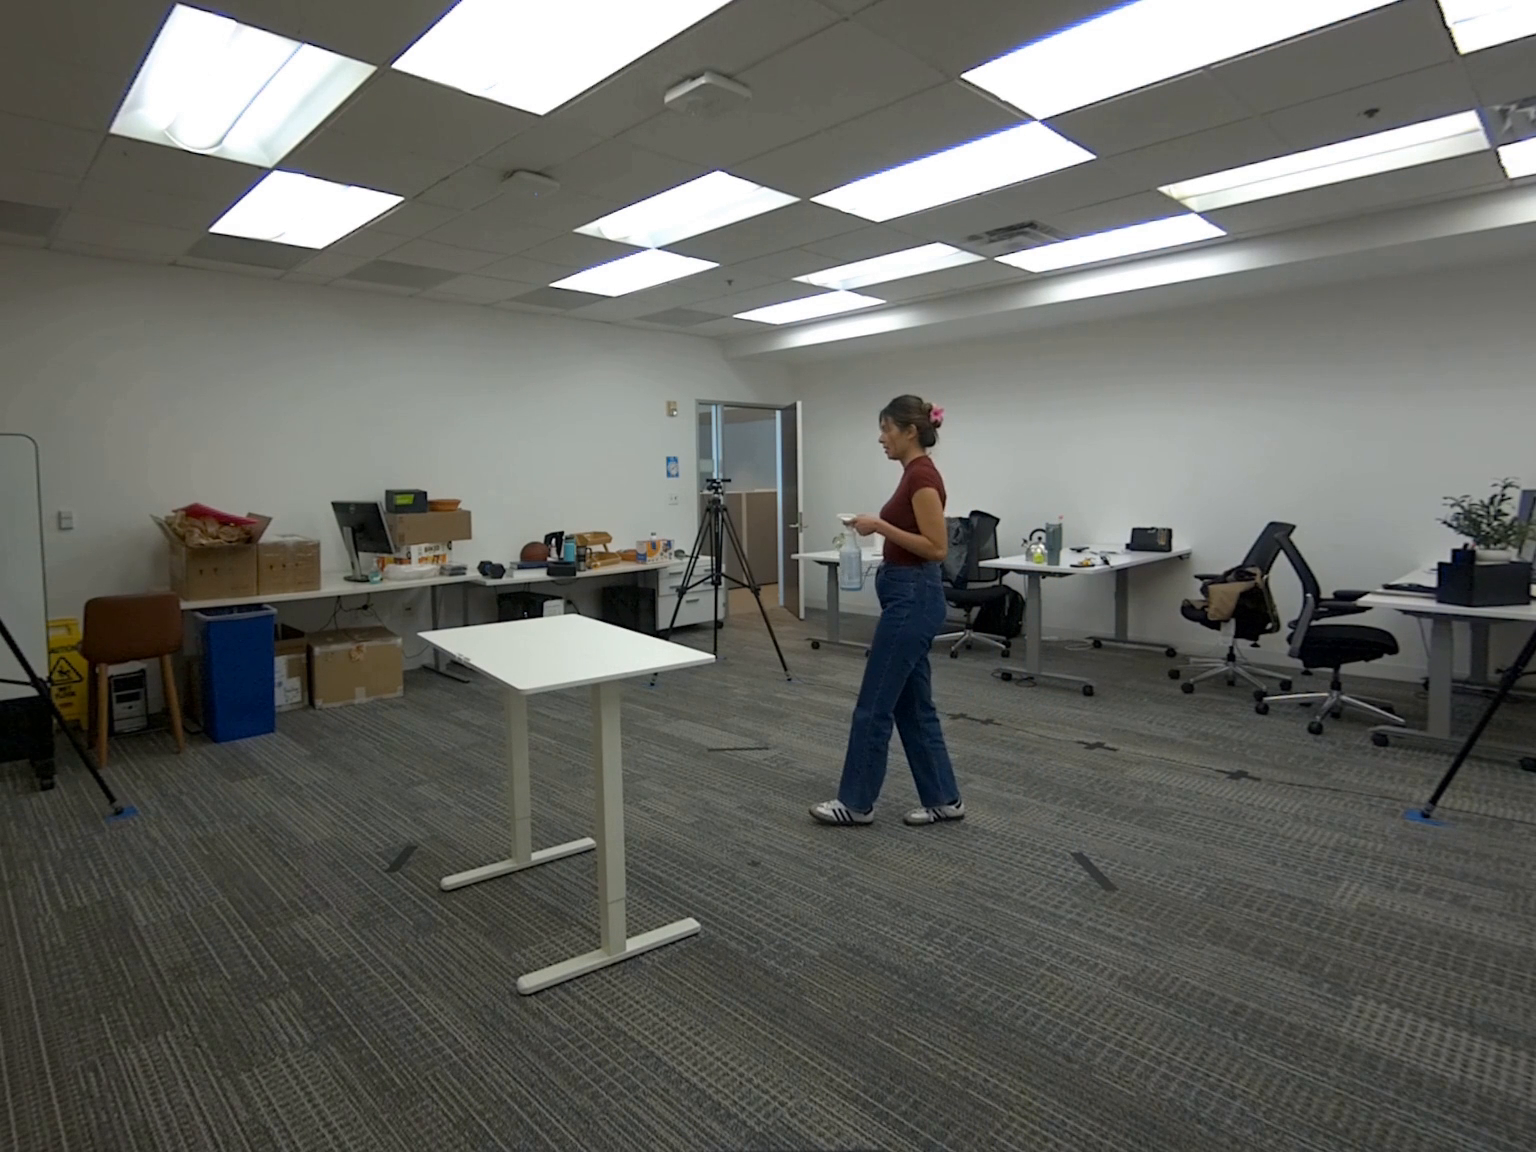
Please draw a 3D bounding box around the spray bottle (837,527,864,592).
[{"bbox_3d":[0.331,-0.091,3.321,0.092,0.296,0.085,0,4,27],"label":"spray bottle"}]
